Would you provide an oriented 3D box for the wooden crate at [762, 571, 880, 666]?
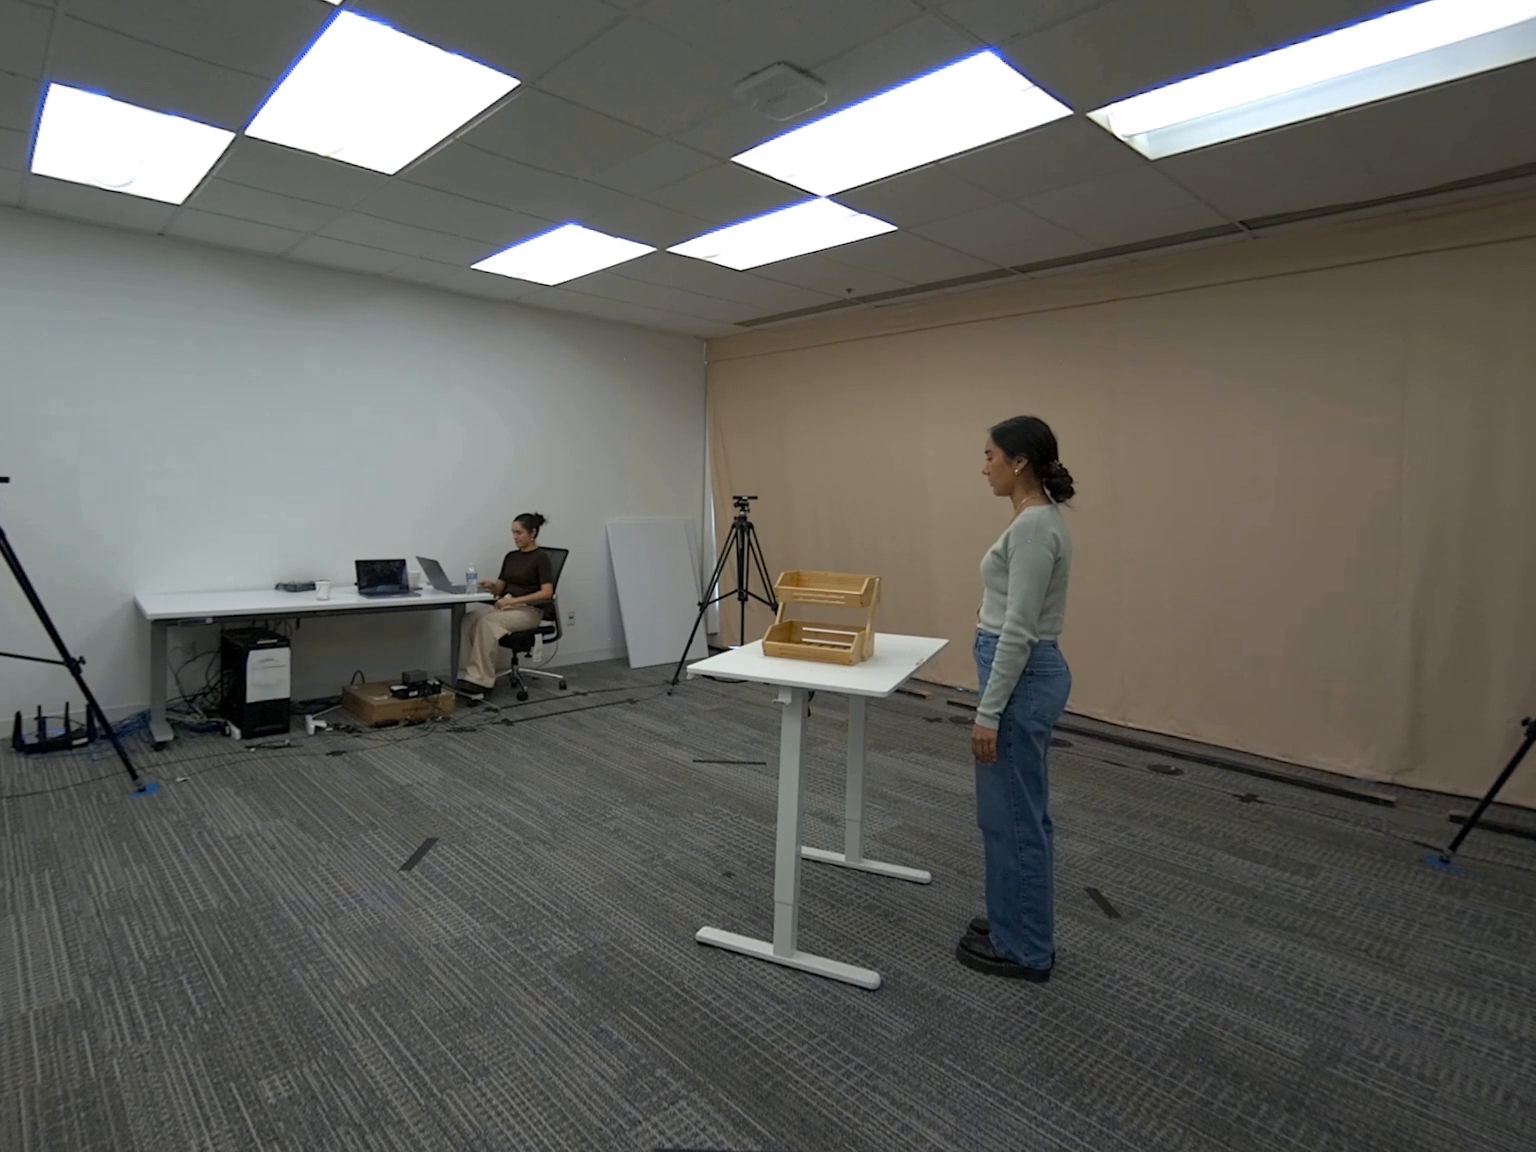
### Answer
[{"bbox_3d":[0.167,0.122,2.755,0.330,0.273,0.297,3,3,23],"label":"wooden crate"}]
